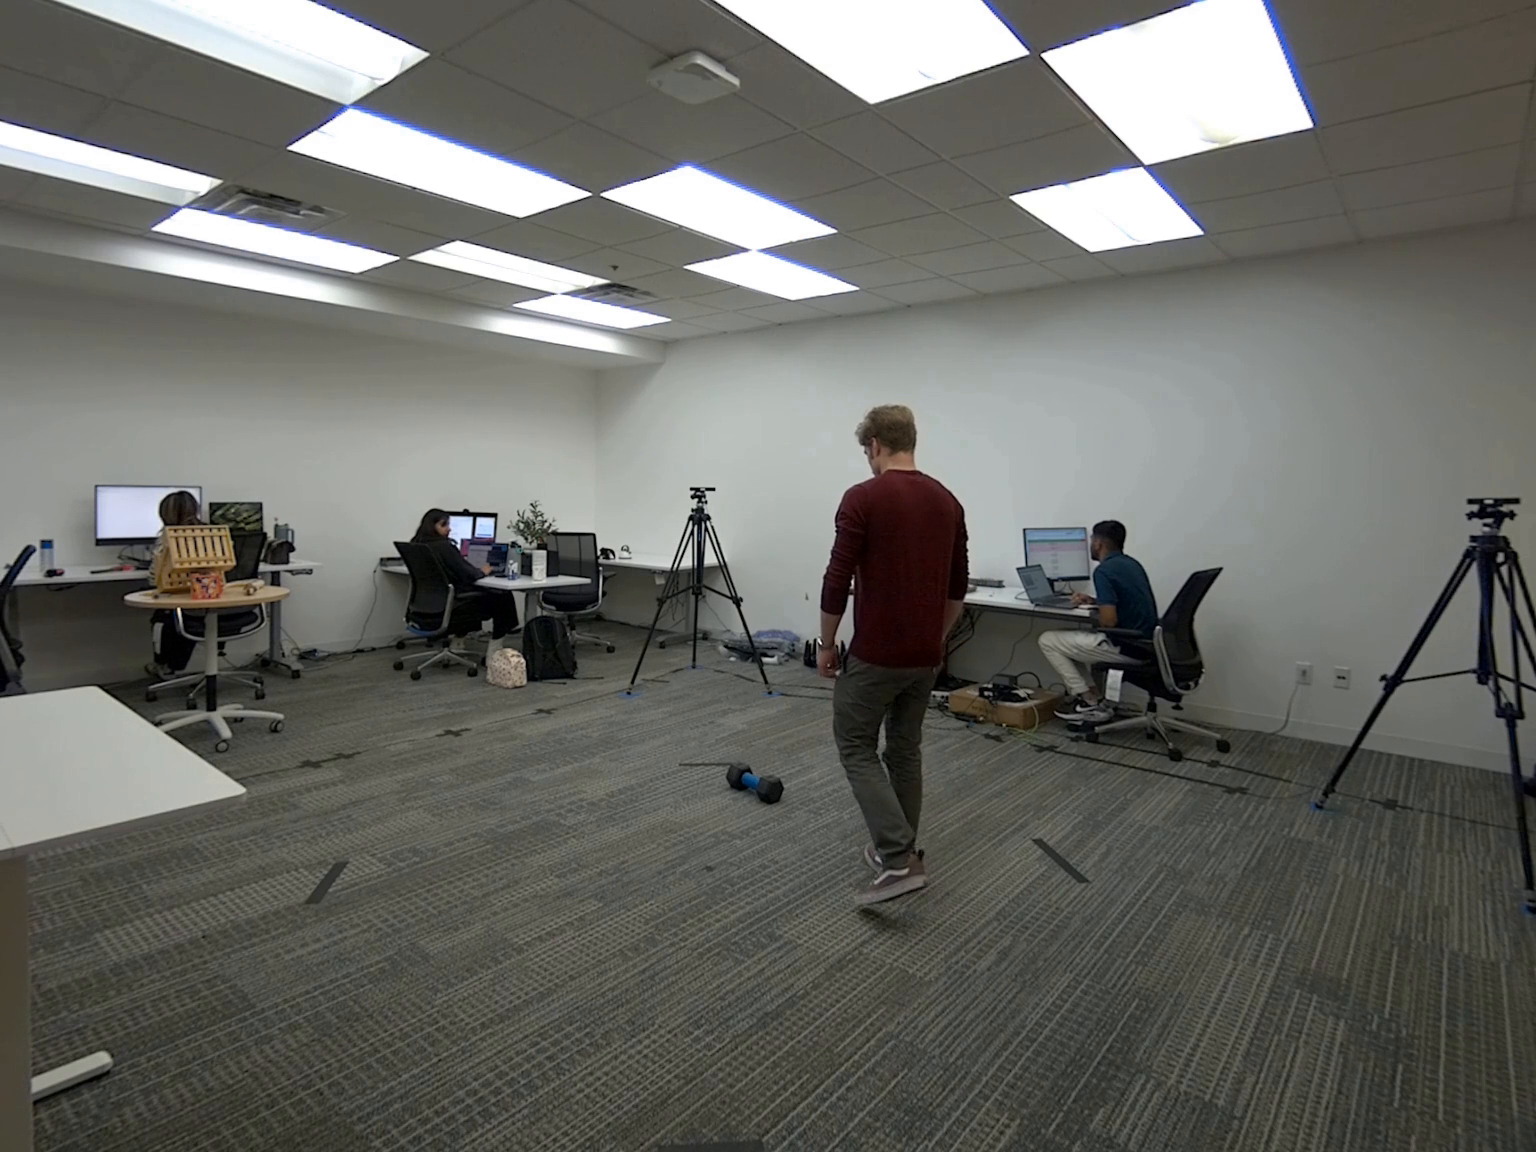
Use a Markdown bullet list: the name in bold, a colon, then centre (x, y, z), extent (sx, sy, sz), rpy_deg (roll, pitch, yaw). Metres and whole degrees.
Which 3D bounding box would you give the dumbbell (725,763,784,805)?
- **dumbbell**: centre (-0.068, 0.940, 3.889), extent (0.303, 0.124, 0.104), rpy_deg (7, -24, 49)
